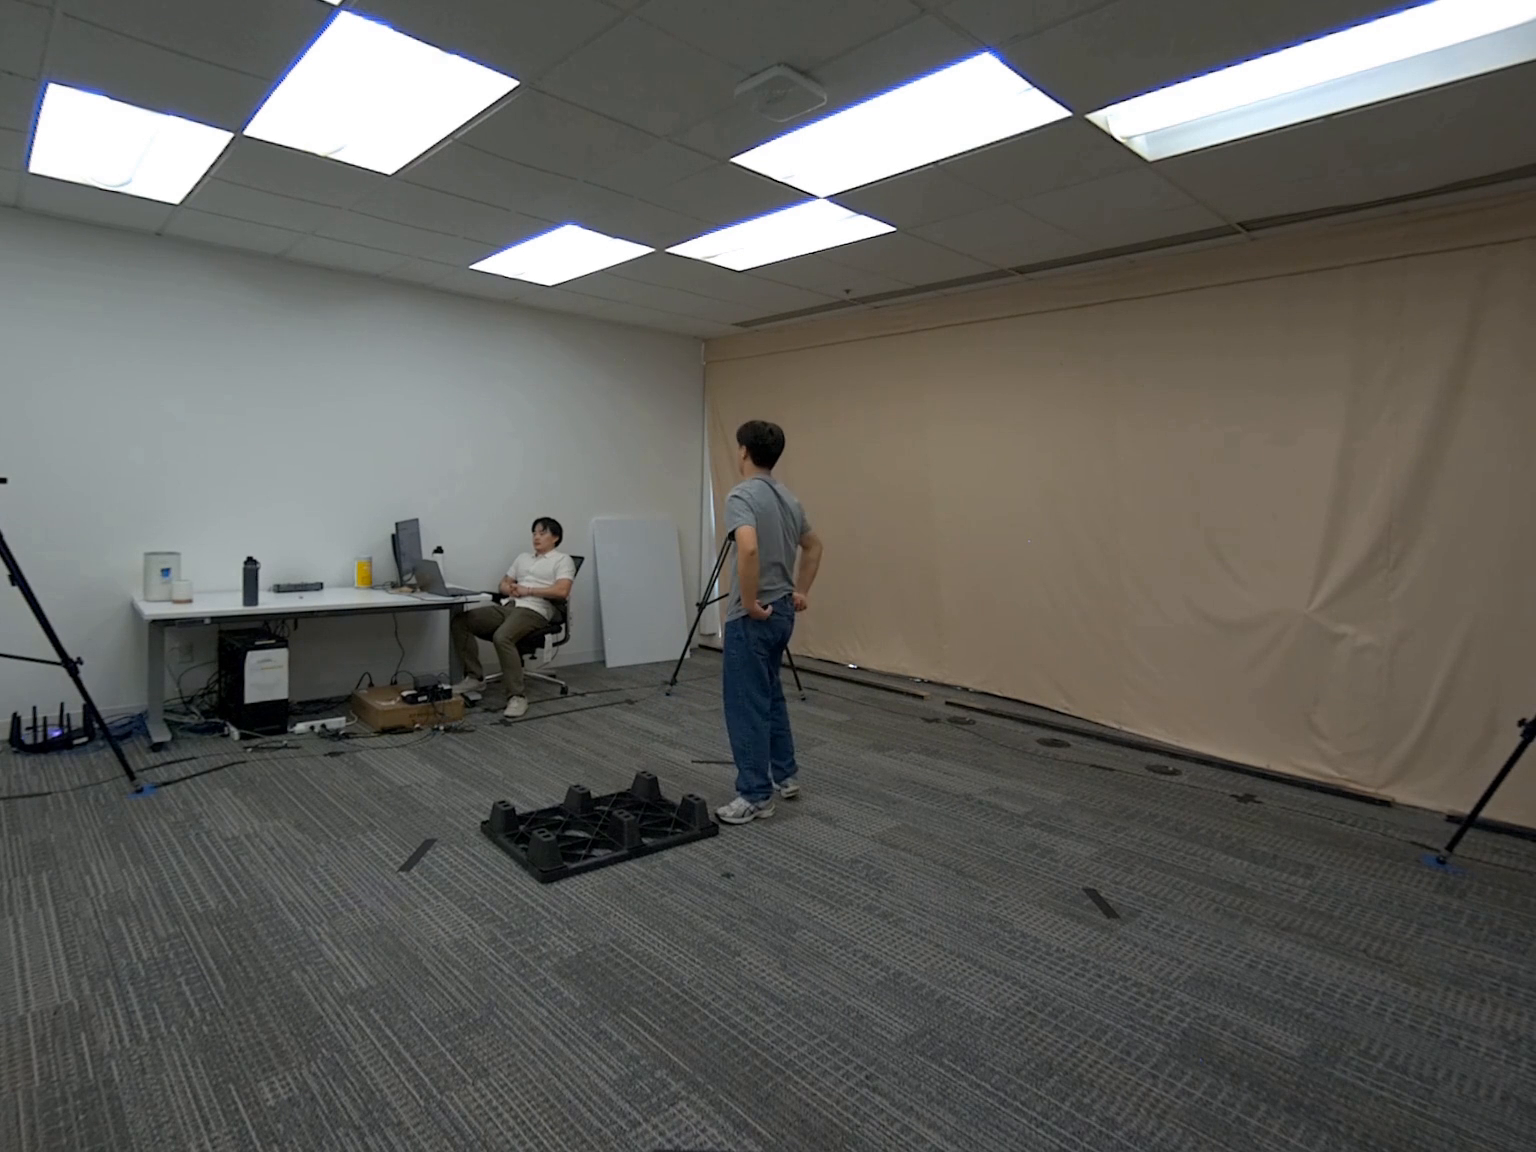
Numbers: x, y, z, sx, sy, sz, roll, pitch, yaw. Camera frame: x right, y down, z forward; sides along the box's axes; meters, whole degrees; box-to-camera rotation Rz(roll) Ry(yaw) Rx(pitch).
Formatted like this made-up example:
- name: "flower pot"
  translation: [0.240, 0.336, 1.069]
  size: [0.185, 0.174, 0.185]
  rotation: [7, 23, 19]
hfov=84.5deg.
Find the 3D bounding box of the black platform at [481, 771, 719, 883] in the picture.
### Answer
- name: "black platform"
  translation: [-0.697, 0.994, 3.460]
  size: [0.787, 0.143, 0.620]
  rotation: [-3, 6, -39]
